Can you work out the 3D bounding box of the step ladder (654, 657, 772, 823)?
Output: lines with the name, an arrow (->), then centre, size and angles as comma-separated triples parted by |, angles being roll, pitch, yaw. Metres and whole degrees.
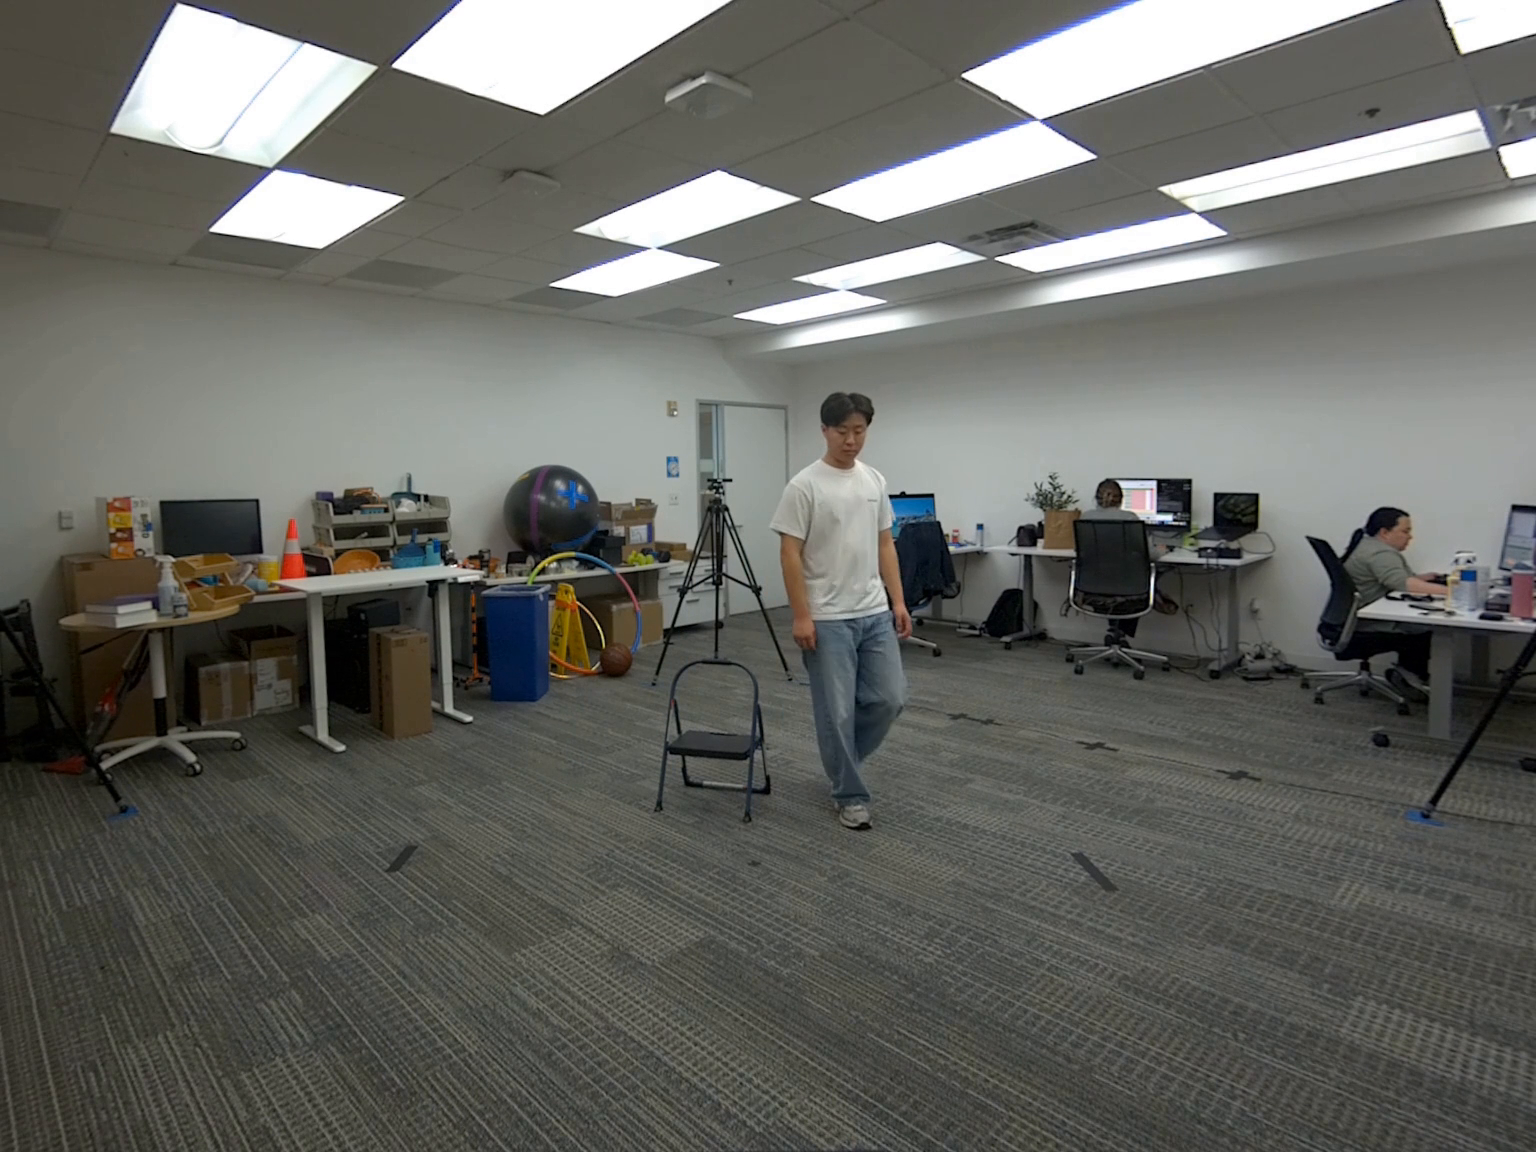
step ladder -> -0.235, 0.678, 3.696 | 0.438, 0.604, 0.344 | 1, 5, 18
